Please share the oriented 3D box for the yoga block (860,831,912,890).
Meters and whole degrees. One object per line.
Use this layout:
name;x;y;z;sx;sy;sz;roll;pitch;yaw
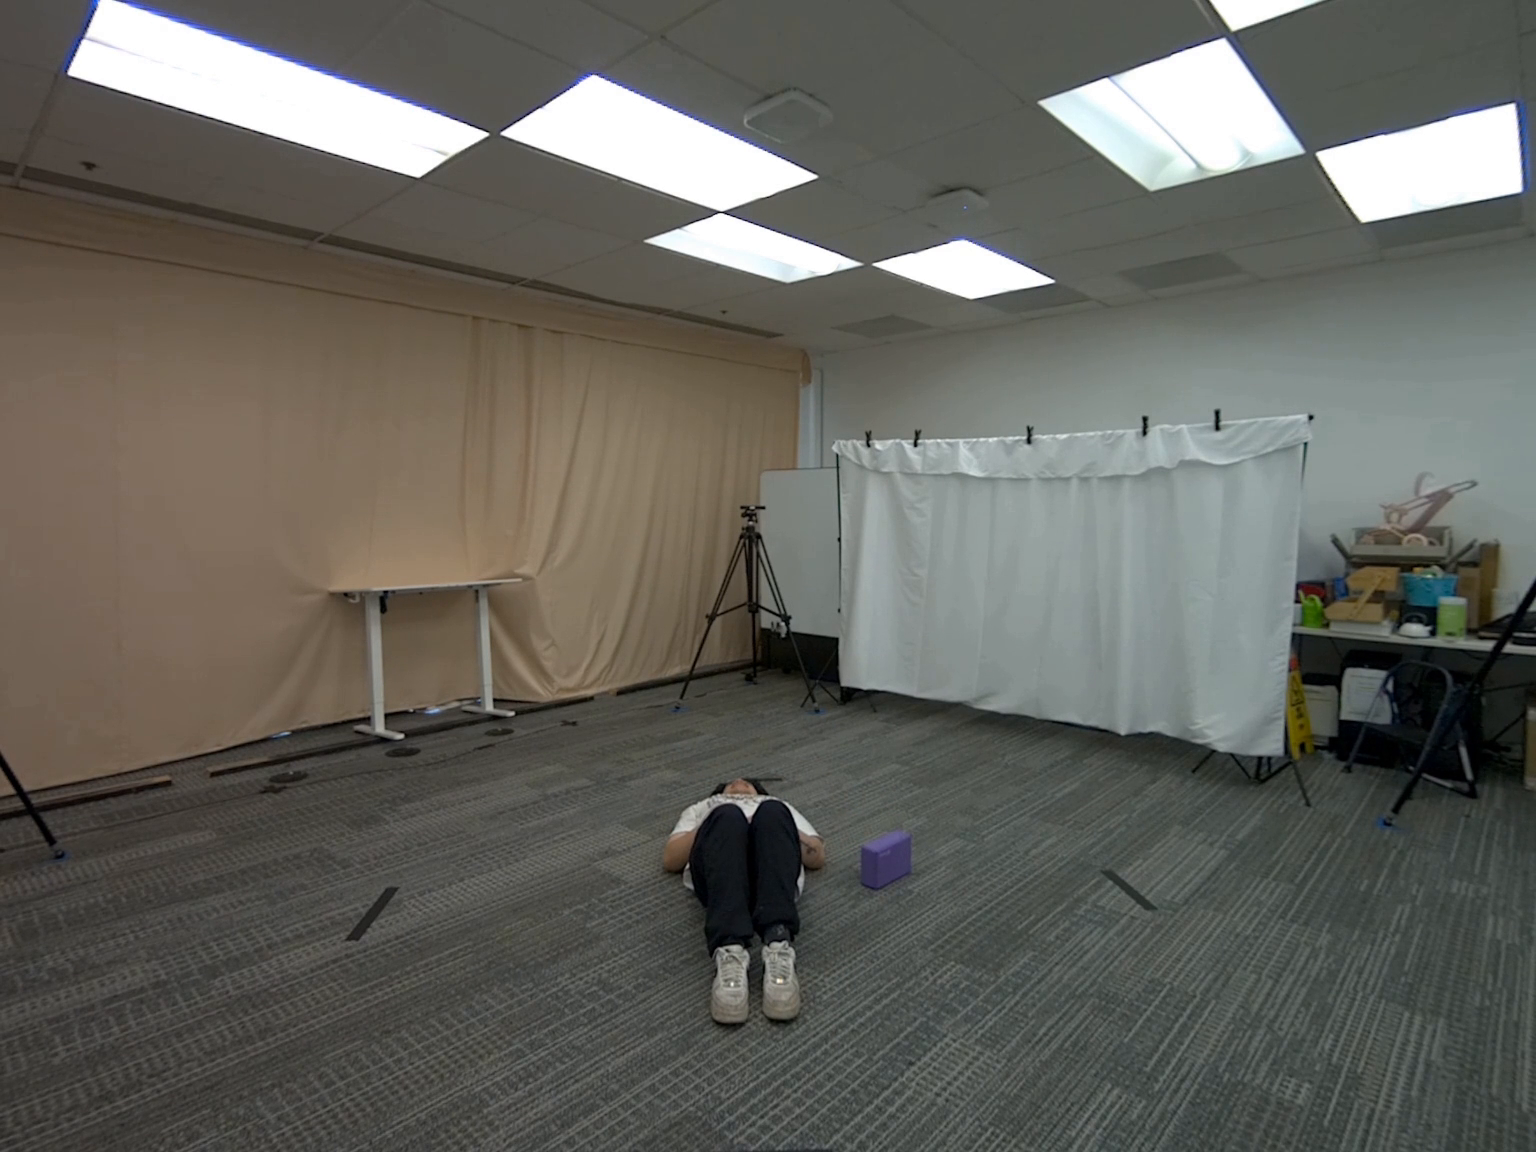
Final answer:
yoga block;0.449;1.054;3.137;0.079;0.149;0.222;3;5;44
